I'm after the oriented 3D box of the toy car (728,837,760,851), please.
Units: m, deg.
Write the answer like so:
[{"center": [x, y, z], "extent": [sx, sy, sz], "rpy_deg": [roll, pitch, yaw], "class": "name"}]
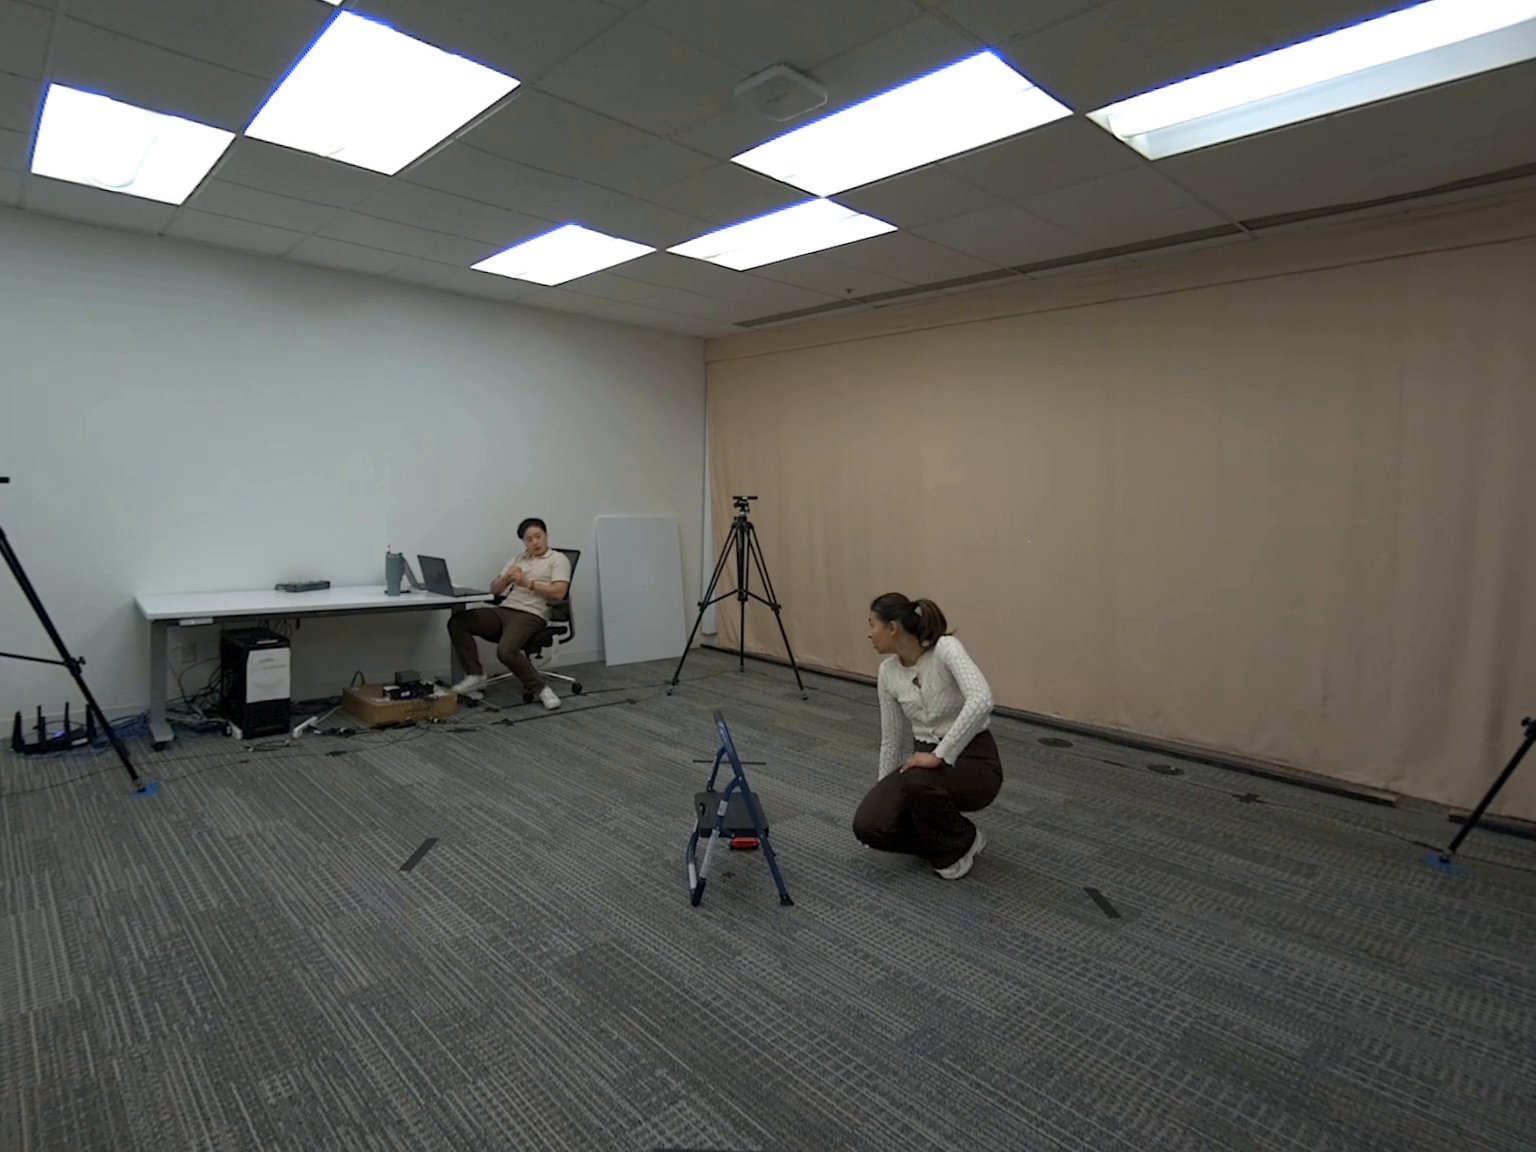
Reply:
[{"center": [-0.111, 1.035, 3.441], "extent": [0.129, 0.082, 0.259], "rpy_deg": [1, 16, -8], "class": "toy car"}]
